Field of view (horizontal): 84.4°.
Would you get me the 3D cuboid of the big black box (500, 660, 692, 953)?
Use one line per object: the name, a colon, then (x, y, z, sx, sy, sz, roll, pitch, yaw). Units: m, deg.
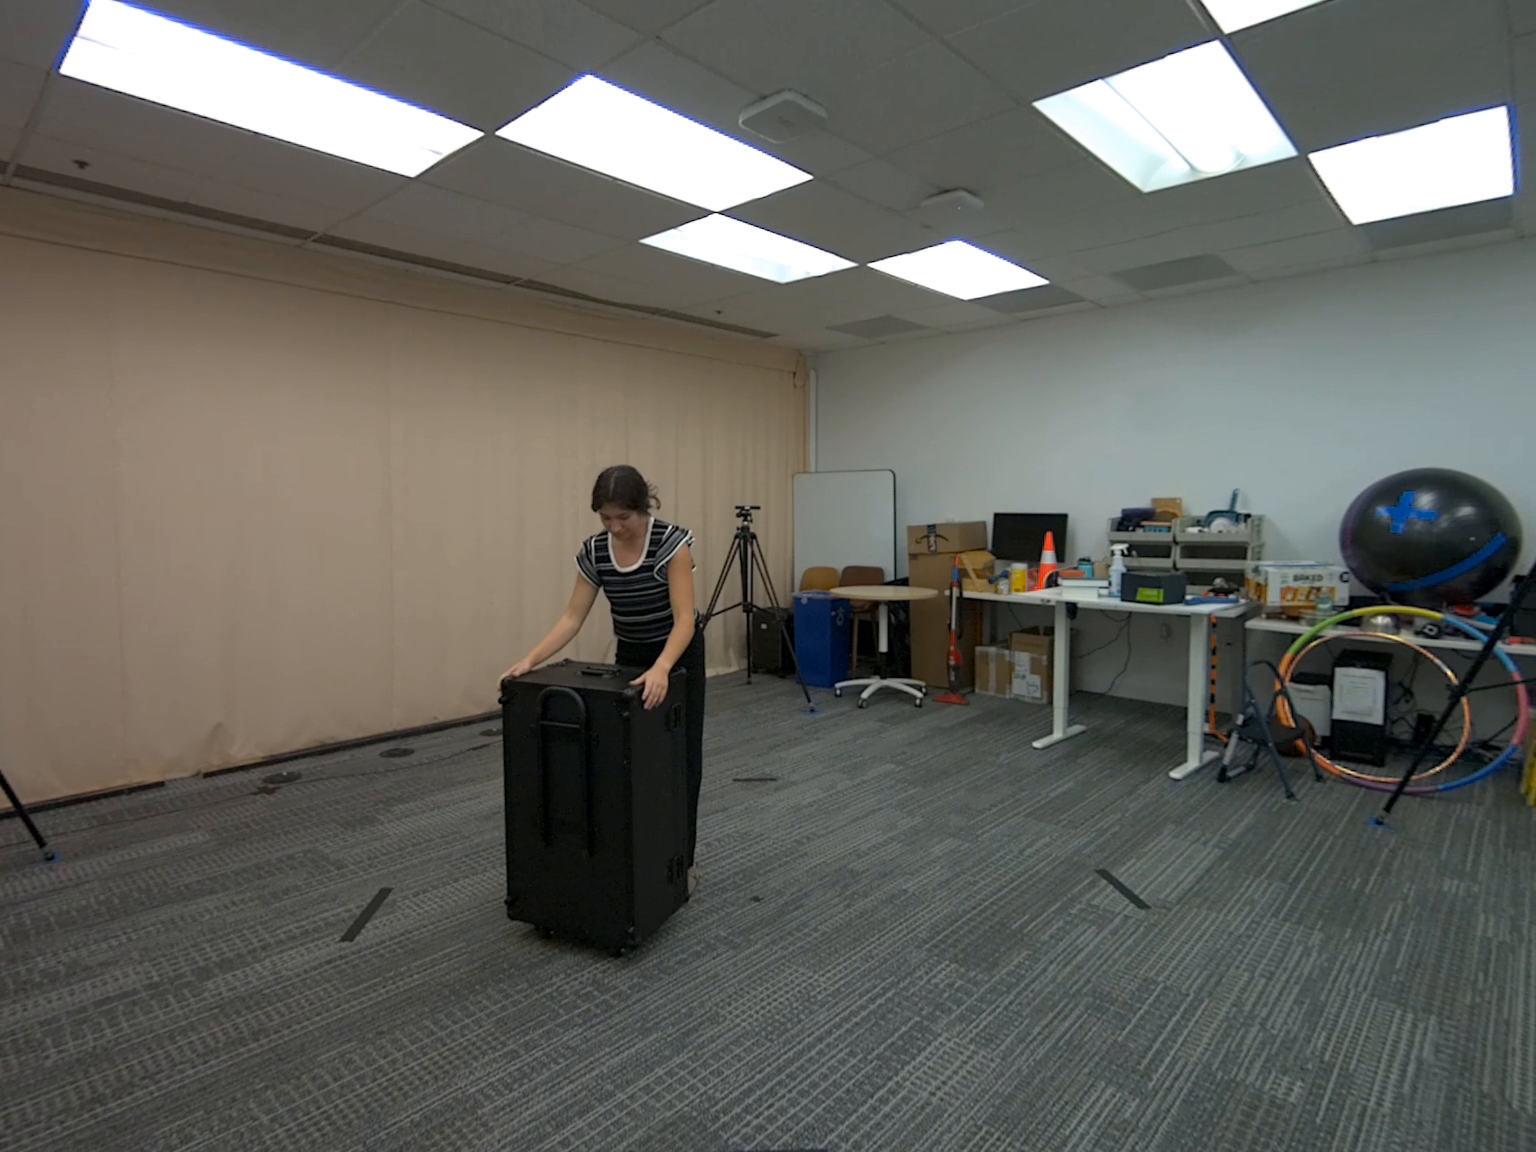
big black box: (-0.560, 0.753, 2.734, 0.533, 0.859, 0.388, 1, 4, 22)
